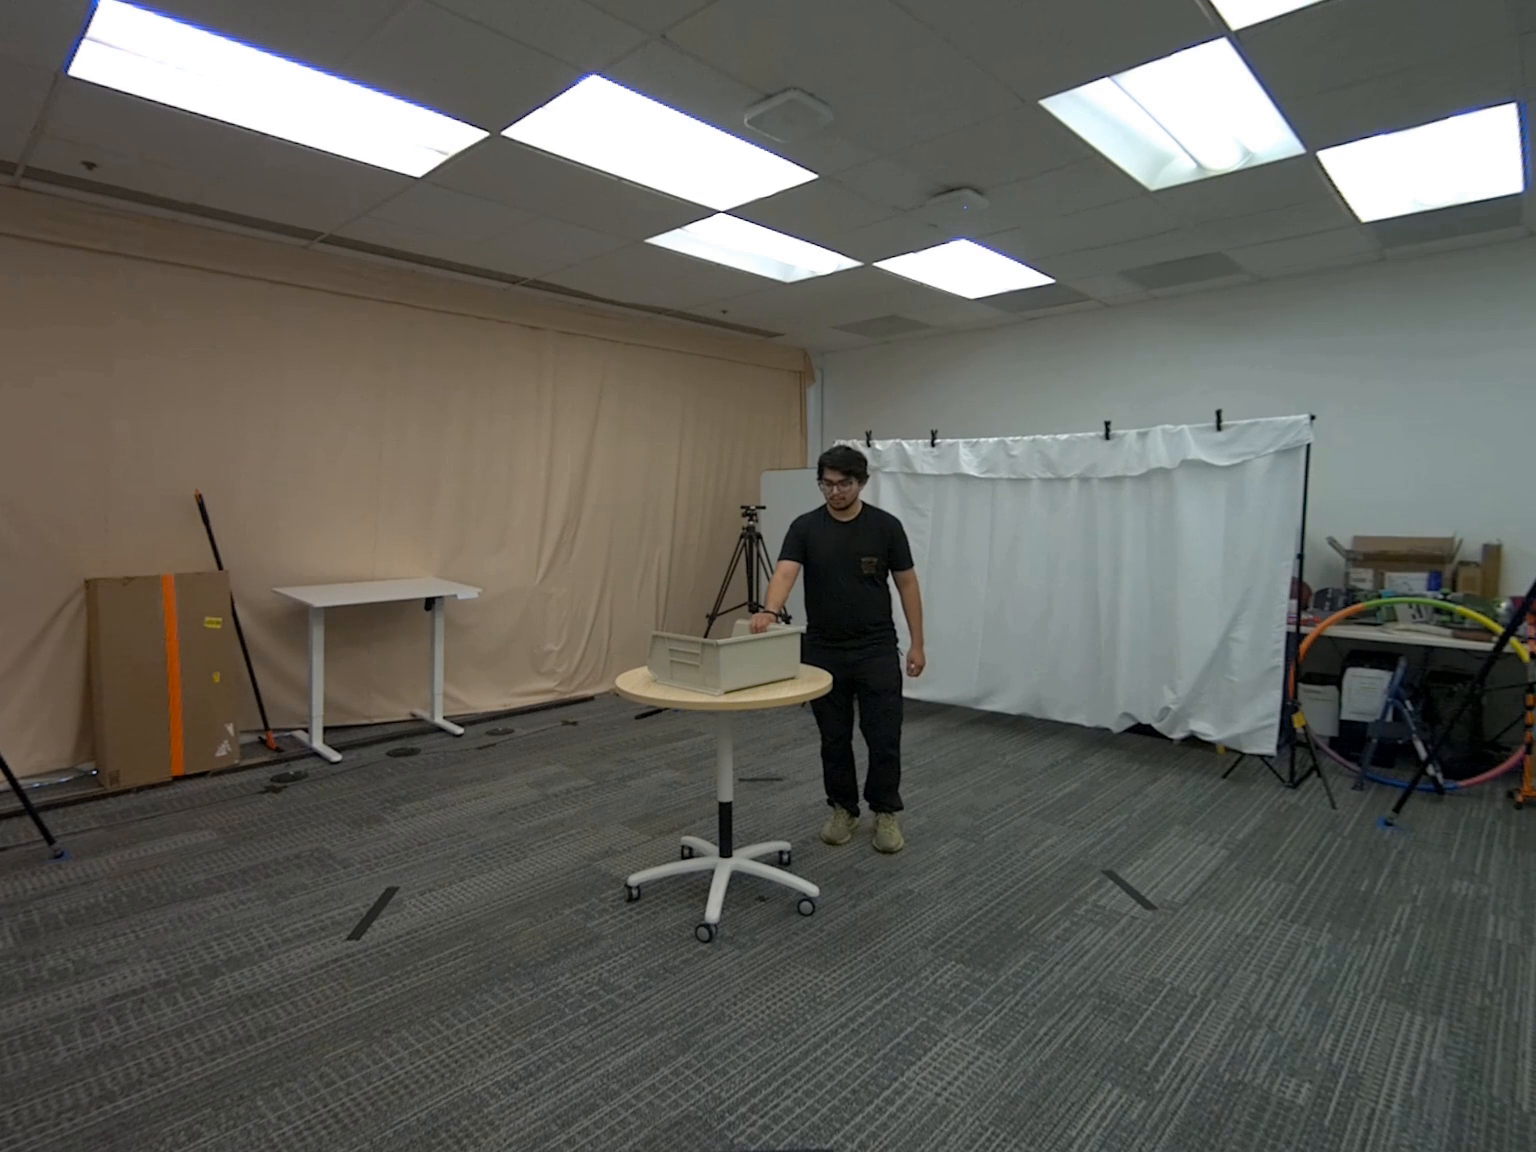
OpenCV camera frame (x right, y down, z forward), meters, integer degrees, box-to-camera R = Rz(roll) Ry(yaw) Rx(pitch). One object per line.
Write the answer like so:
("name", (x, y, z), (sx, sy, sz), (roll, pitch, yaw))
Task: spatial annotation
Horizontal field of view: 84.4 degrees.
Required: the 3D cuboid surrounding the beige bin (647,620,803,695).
("beige bin", (-0.144, 0.271, 2.945), (0.409, 0.188, 0.390), (-4, 8, -44))
